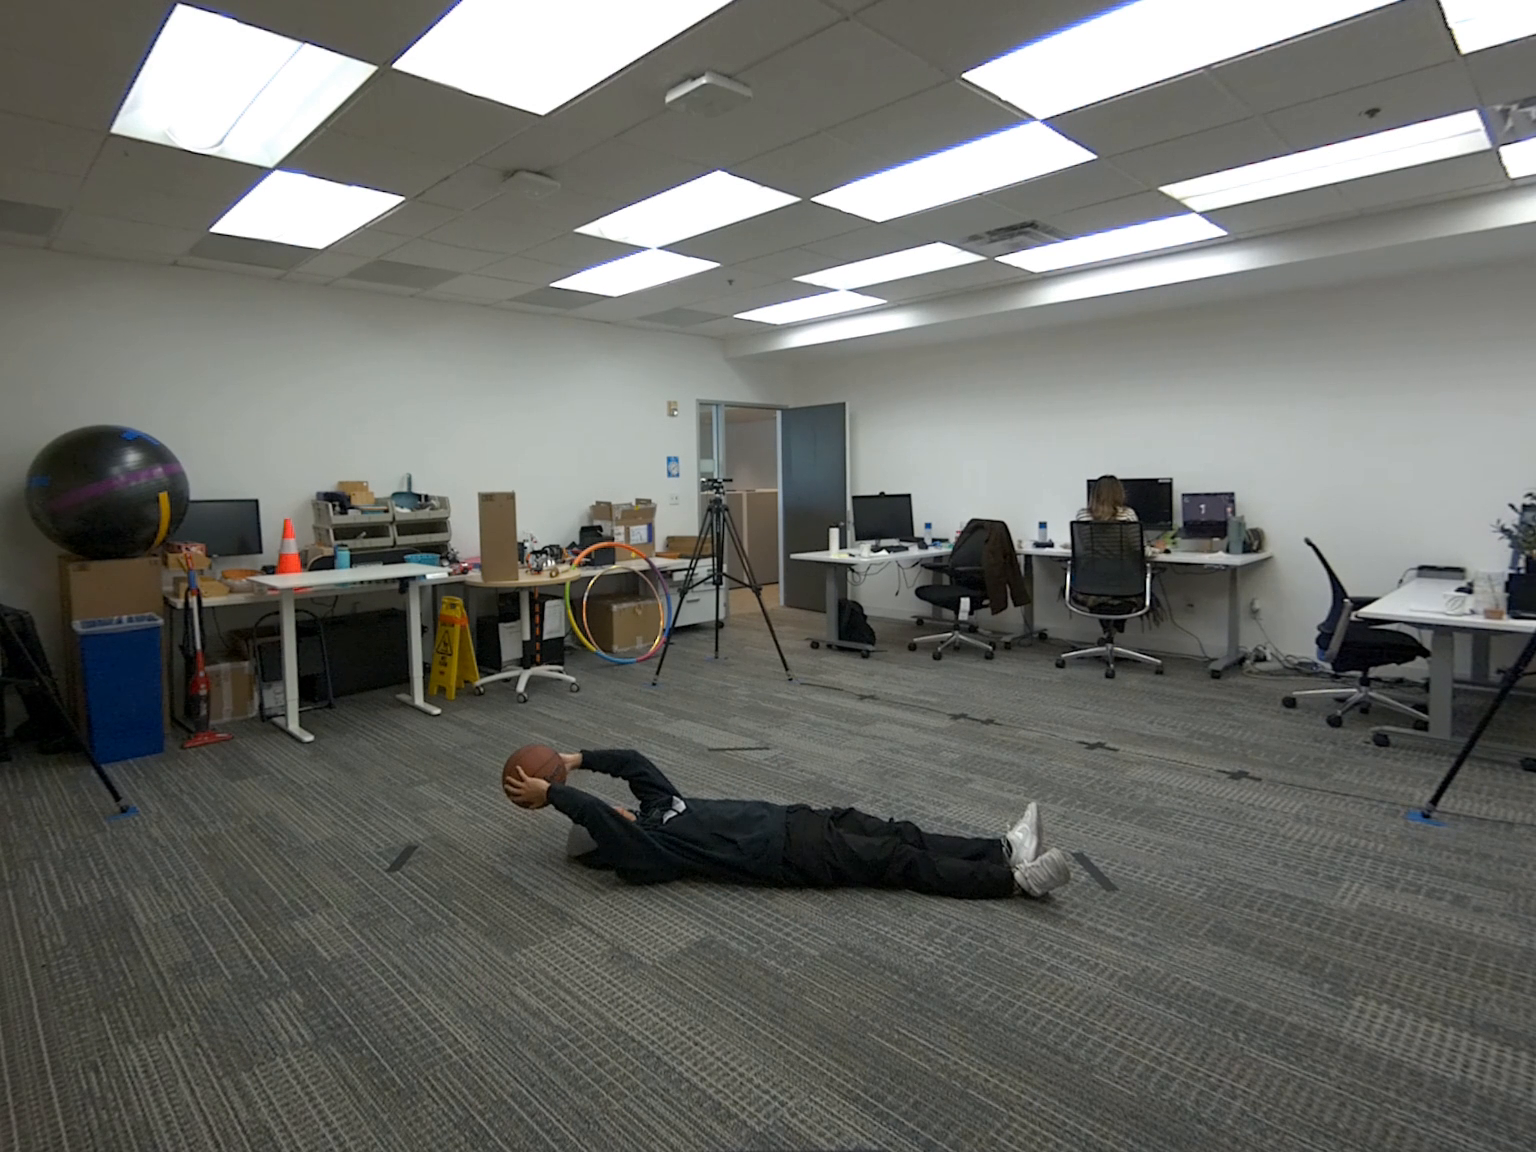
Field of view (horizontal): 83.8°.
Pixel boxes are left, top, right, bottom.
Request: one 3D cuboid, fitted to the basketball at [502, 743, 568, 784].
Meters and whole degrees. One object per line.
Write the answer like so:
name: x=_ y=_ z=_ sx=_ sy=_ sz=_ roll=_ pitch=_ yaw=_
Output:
basketball: x=-0.881 y=0.757 z=3.227 sx=0.236 sy=0.235 sz=0.237 roll=-1 pitch=5 yaw=-2
